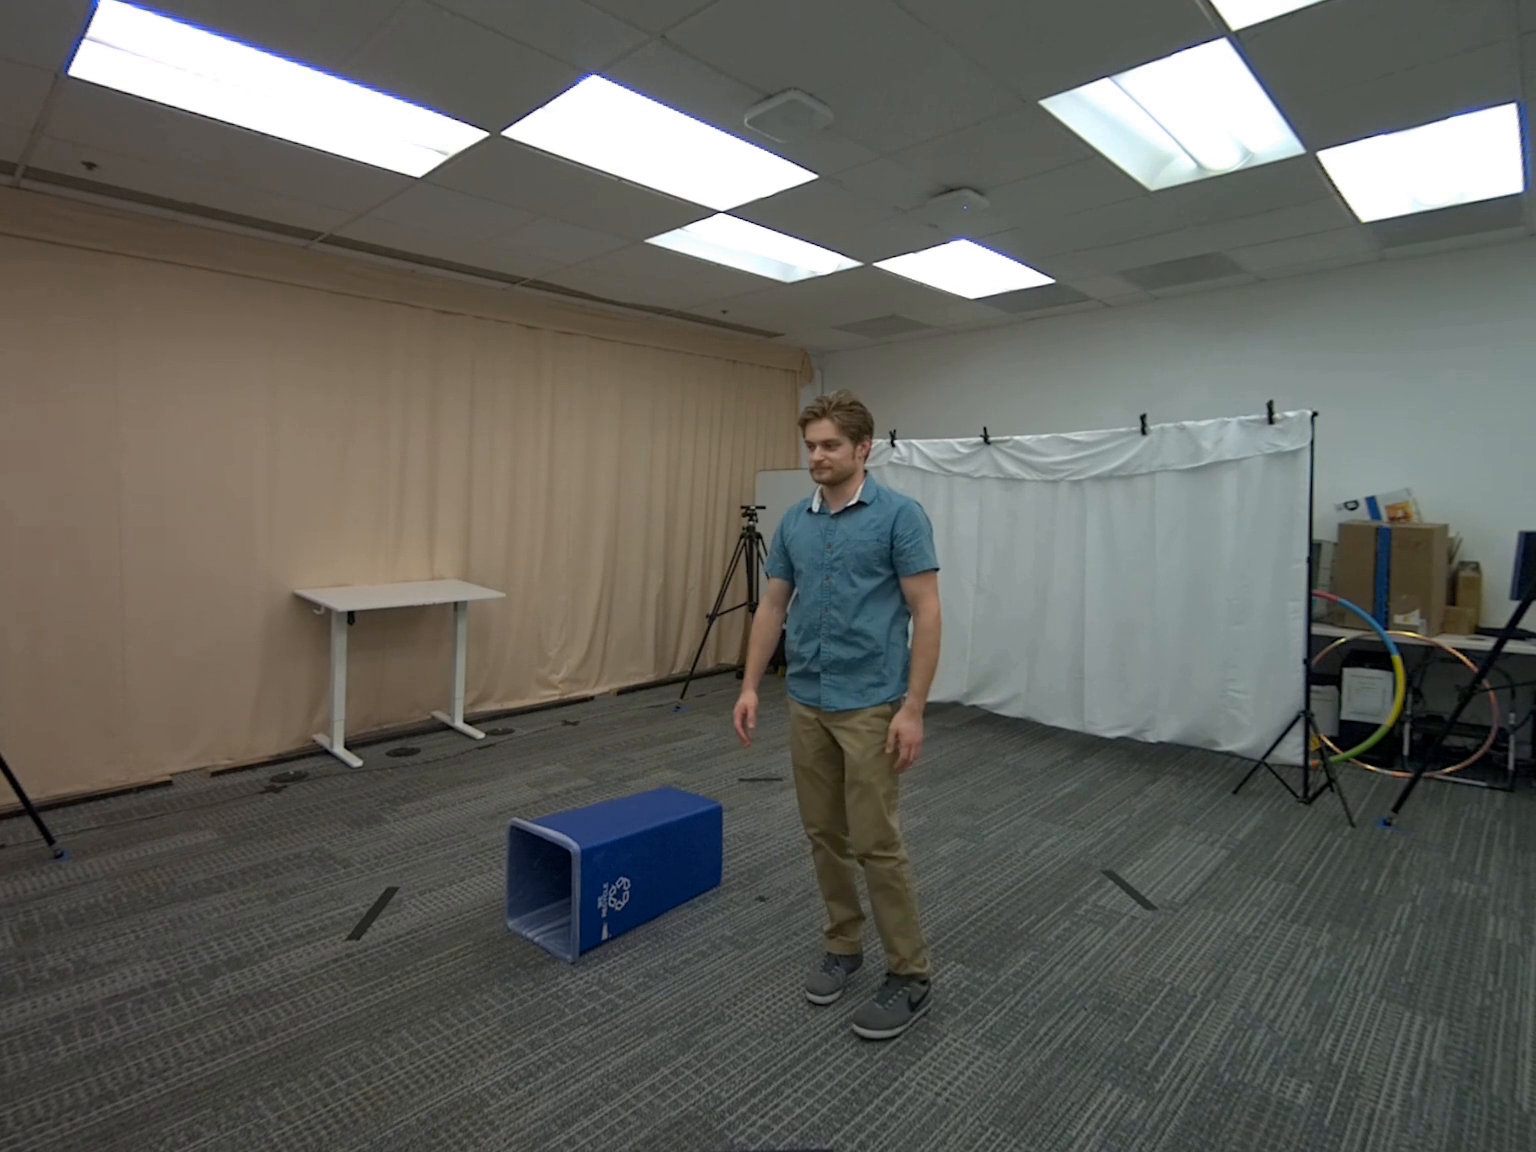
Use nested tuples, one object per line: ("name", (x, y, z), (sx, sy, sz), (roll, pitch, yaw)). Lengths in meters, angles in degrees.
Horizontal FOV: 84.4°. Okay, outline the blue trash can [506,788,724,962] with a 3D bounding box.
("blue trash can", (-0.507, 0.989, 2.935), (0.386, 0.378, 0.691), (3, 2, 40))
